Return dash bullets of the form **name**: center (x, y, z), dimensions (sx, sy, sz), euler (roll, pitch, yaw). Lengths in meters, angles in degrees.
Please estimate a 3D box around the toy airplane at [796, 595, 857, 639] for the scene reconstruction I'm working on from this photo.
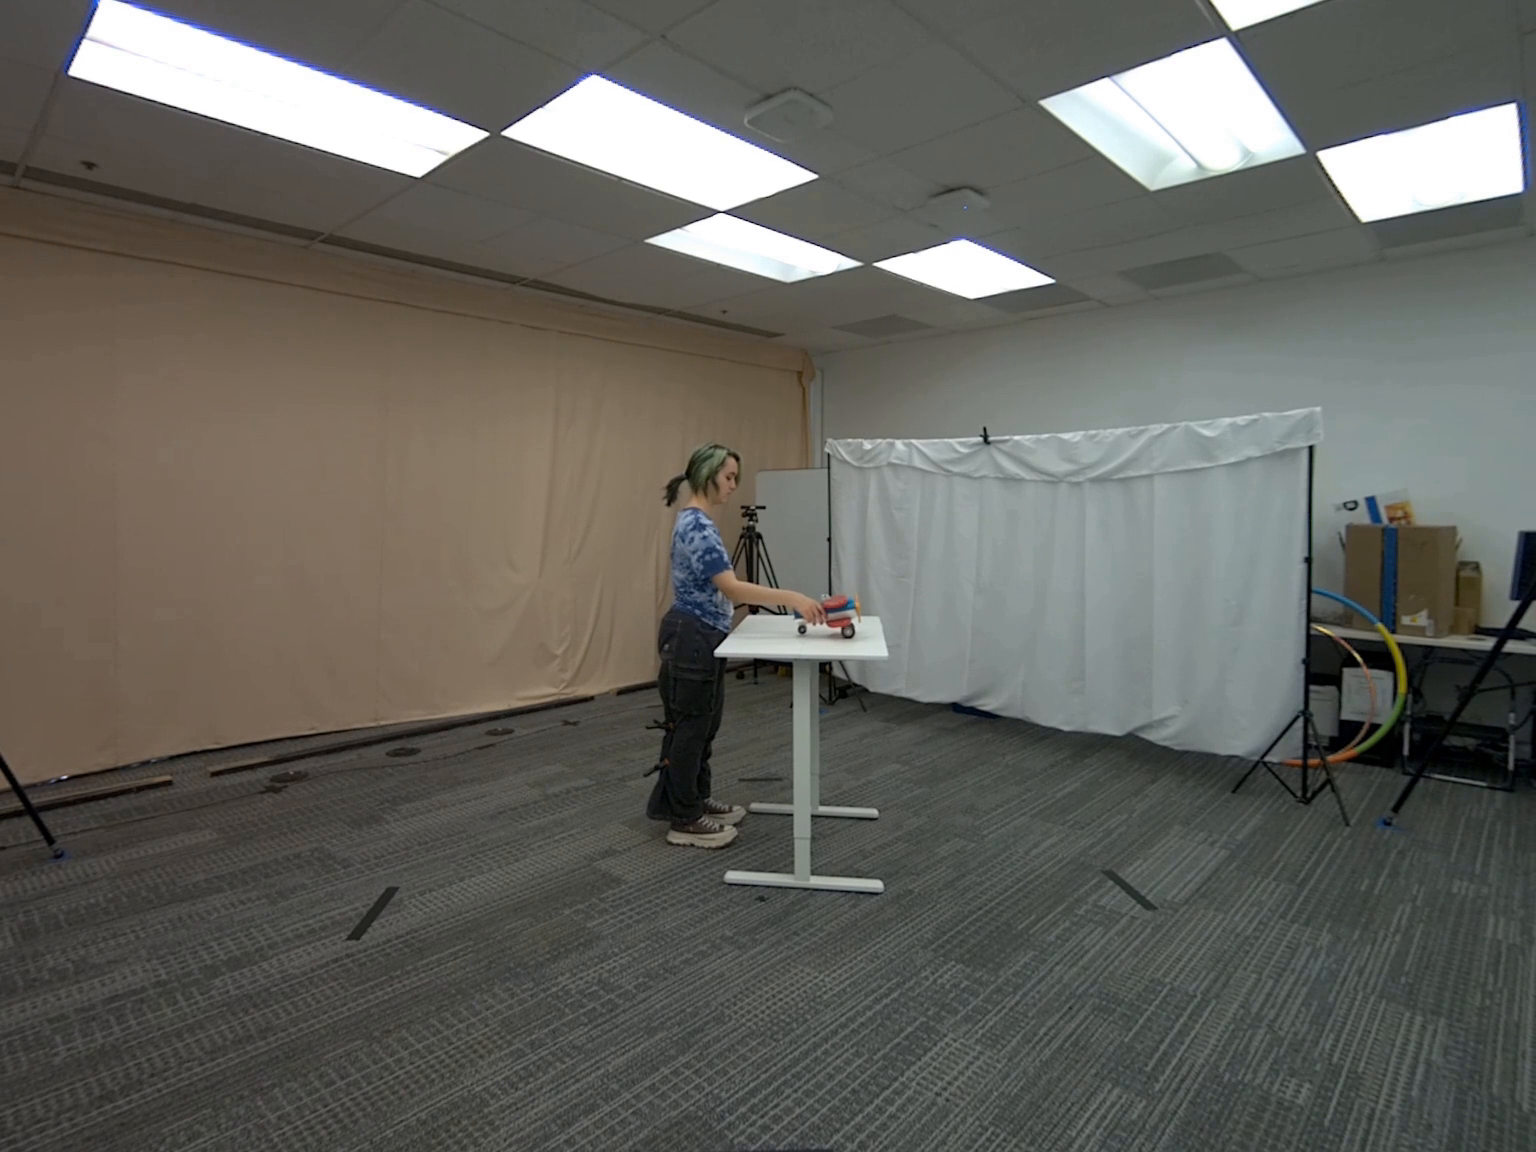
- **toy airplane**: center (0.225, 0.155, 3.265), dimensions (0.253, 0.156, 0.257), euler (2, 5, -23)
